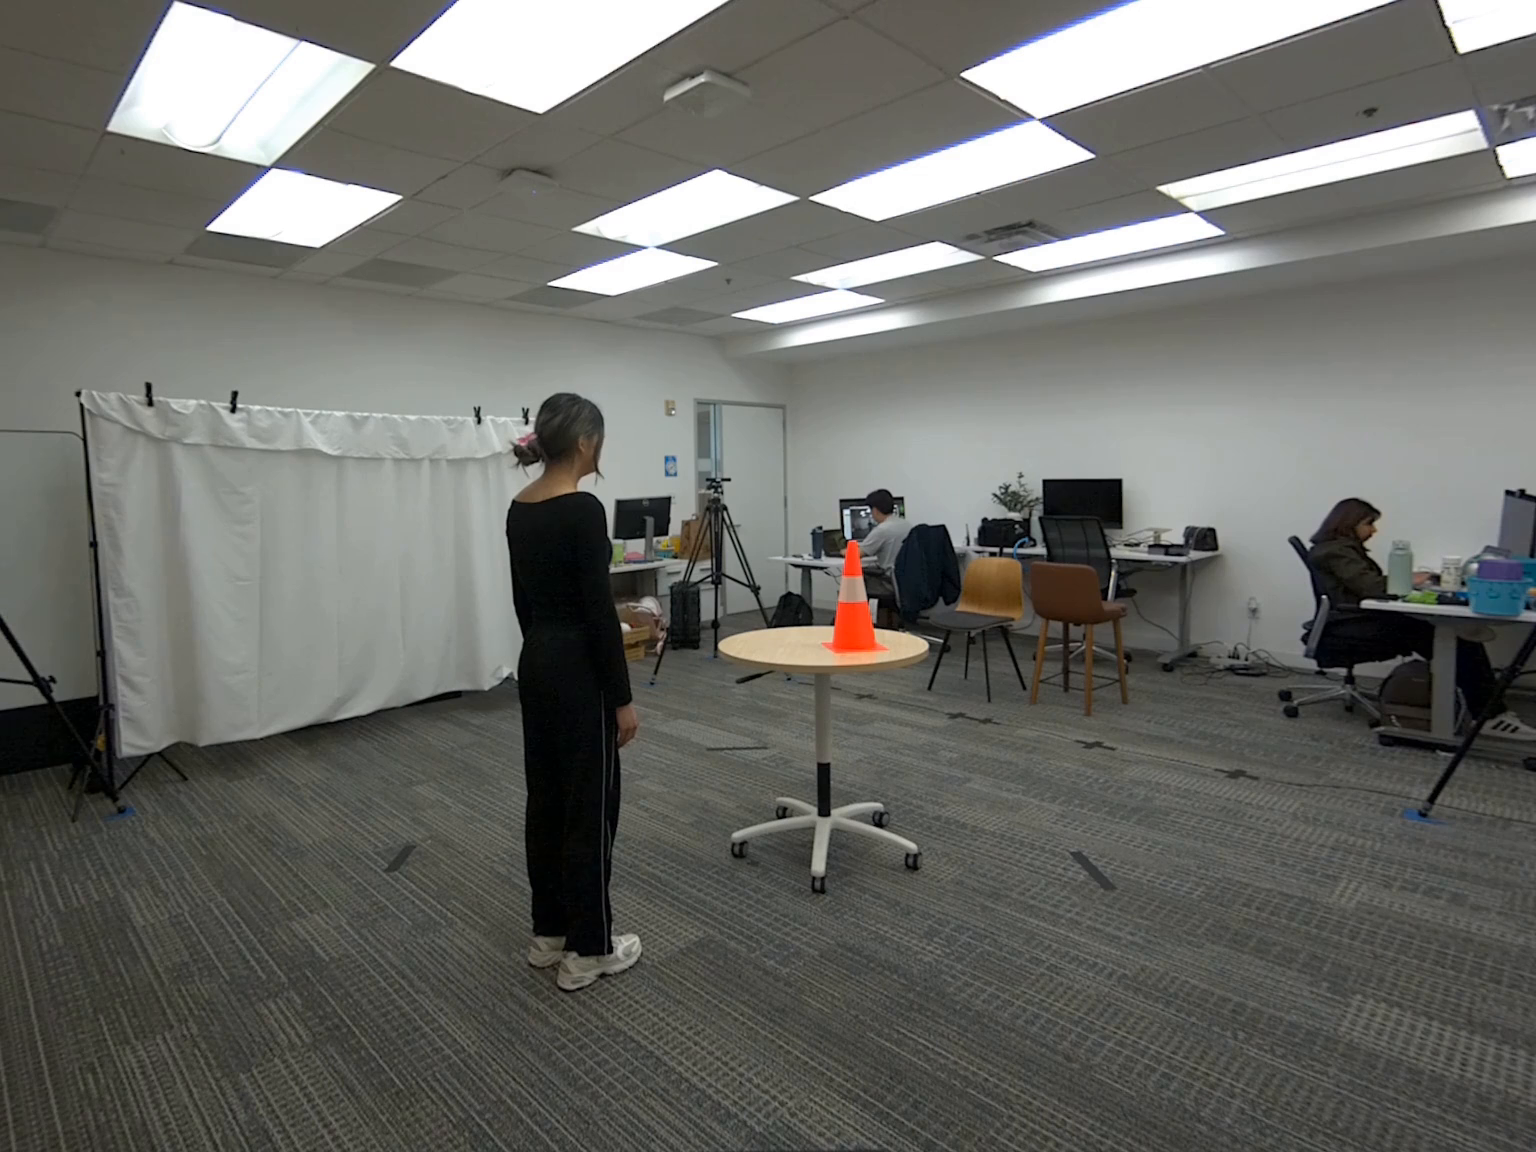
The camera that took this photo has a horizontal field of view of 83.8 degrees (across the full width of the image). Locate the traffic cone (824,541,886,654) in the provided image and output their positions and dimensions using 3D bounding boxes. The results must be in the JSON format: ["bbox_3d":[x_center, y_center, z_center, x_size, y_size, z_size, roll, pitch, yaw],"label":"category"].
[{"bbox_3d":[0.306,0.067,3.065,0.201,0.383,0.208,-2,3,-15],"label":"traffic cone"}]
